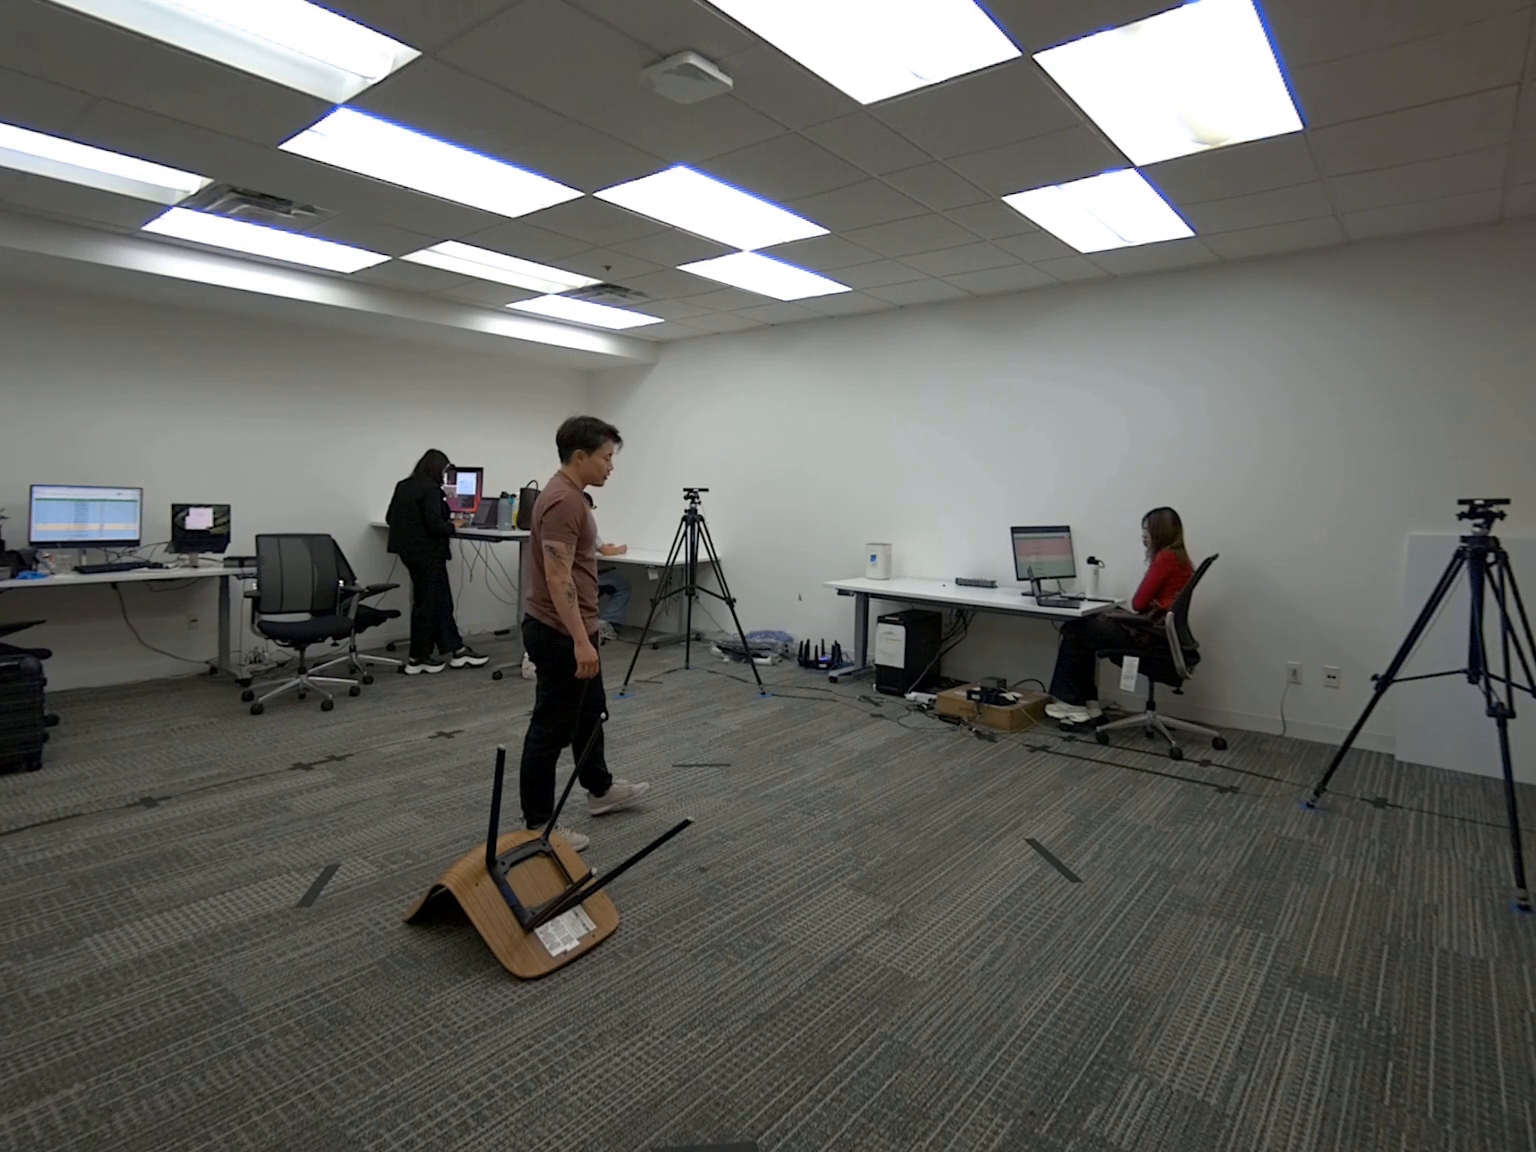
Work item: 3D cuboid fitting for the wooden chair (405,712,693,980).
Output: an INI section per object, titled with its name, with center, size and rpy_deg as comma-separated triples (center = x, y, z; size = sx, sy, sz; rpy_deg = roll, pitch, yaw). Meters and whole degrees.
[wooden chair]
center = -0.719, 0.937, 2.621
size = 0.538, 0.875, 0.466
rpy_deg = 47, 24, 20
